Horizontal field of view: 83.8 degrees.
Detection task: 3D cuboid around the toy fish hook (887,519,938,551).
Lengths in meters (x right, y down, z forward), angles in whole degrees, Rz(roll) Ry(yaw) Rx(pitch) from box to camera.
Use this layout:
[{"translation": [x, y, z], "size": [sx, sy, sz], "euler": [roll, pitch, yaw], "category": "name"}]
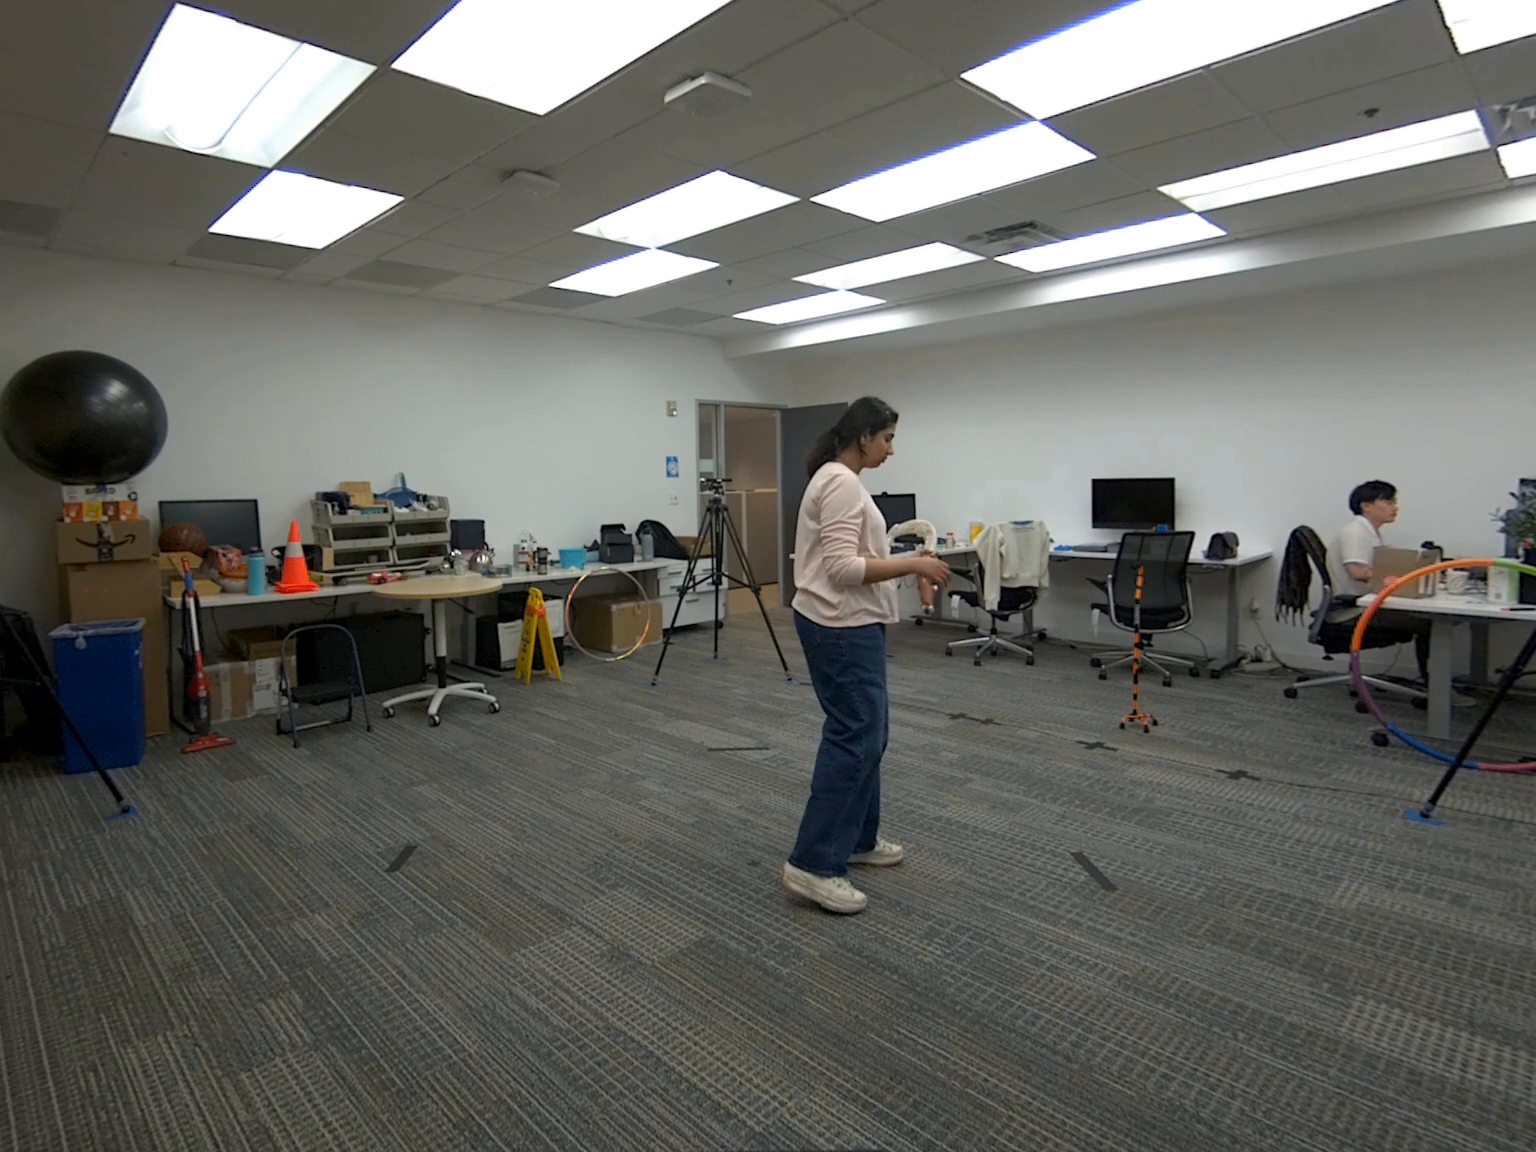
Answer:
[{"translation": [0.545, -0.037, 3.246], "size": [0.227, 0.046, 0.519], "euler": [-19, 40, 22], "category": "toy fish hook"}]
